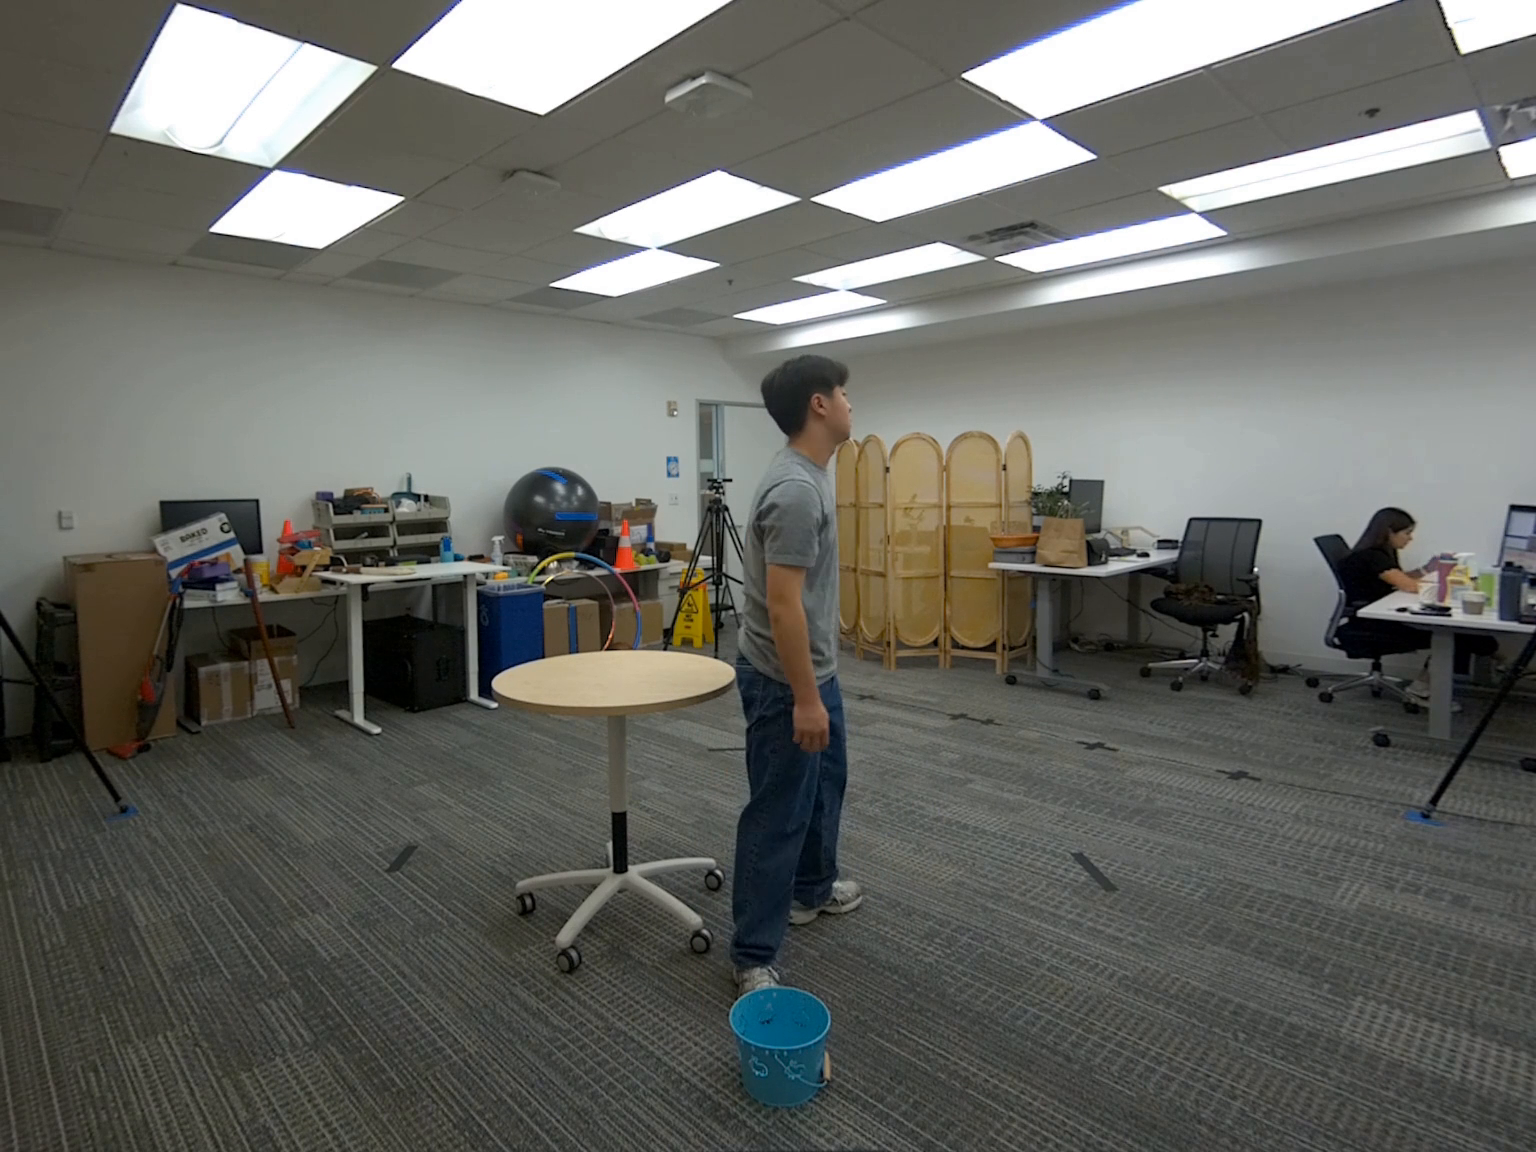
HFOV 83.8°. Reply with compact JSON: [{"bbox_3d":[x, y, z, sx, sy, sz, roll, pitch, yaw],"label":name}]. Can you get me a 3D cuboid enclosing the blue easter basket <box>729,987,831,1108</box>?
[{"bbox_3d":[0.034,1.103,1.980,0.243,0.155,0.245,-2,5,-2],"label":"blue easter basket"}]
